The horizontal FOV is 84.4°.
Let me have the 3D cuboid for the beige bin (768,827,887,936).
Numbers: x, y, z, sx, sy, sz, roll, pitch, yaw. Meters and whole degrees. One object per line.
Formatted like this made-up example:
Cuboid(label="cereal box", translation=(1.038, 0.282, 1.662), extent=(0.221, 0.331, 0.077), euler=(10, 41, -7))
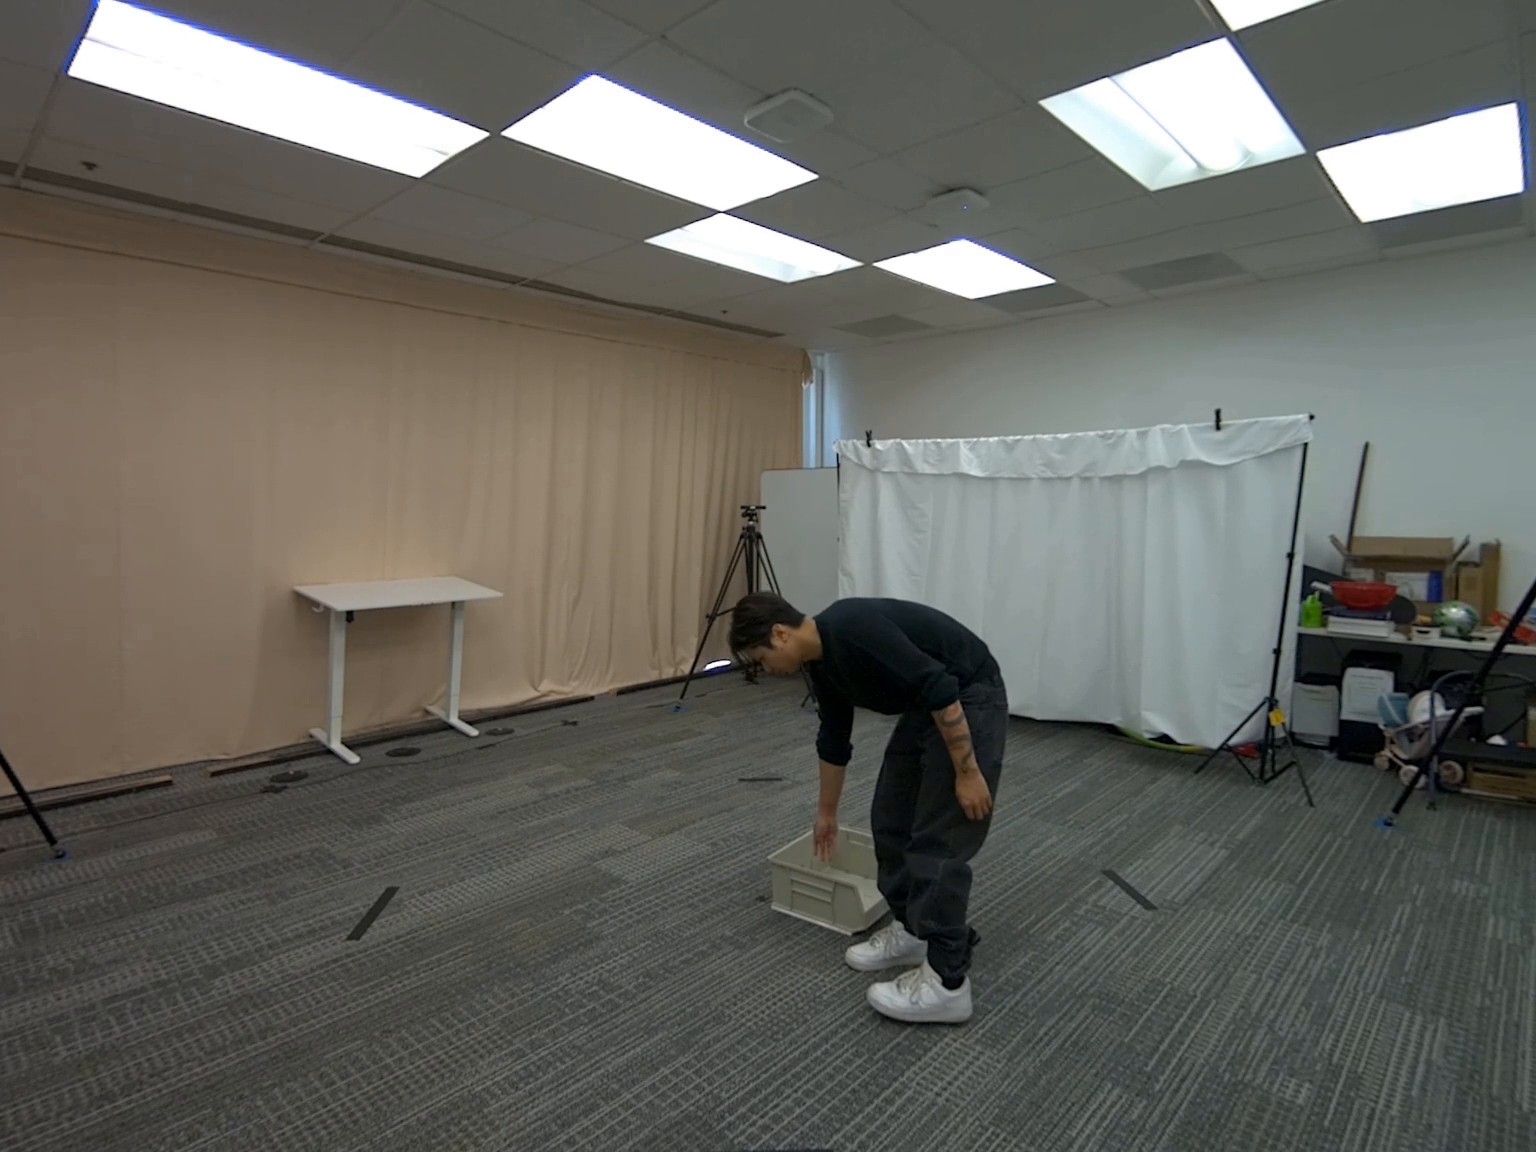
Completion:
Cuboid(label="beige bin", translation=(0.273, 1.055, 2.963), extent=(0.389, 0.188, 0.410), euler=(2, 5, 36))
